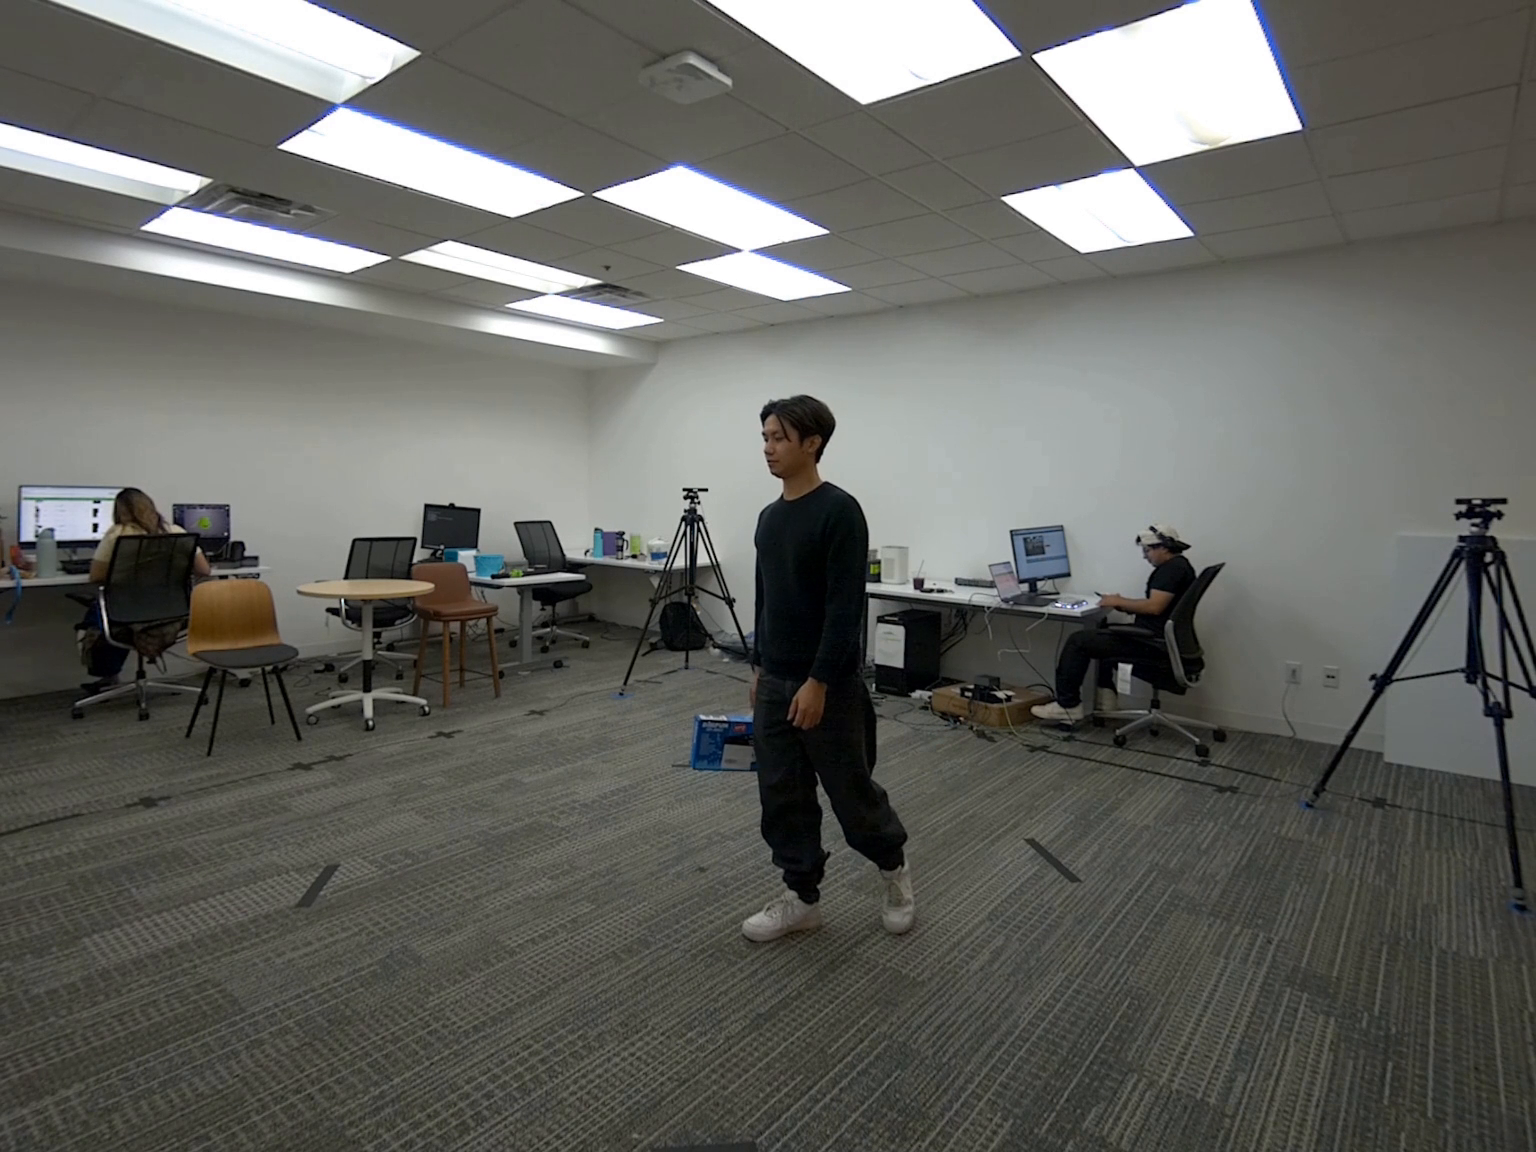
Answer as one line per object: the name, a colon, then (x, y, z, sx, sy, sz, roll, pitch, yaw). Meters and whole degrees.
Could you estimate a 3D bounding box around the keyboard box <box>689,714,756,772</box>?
keyboard box: (-0.041, 0.566, 2.865, 0.429, 0.175, 0.060, 5, 3, -16)
